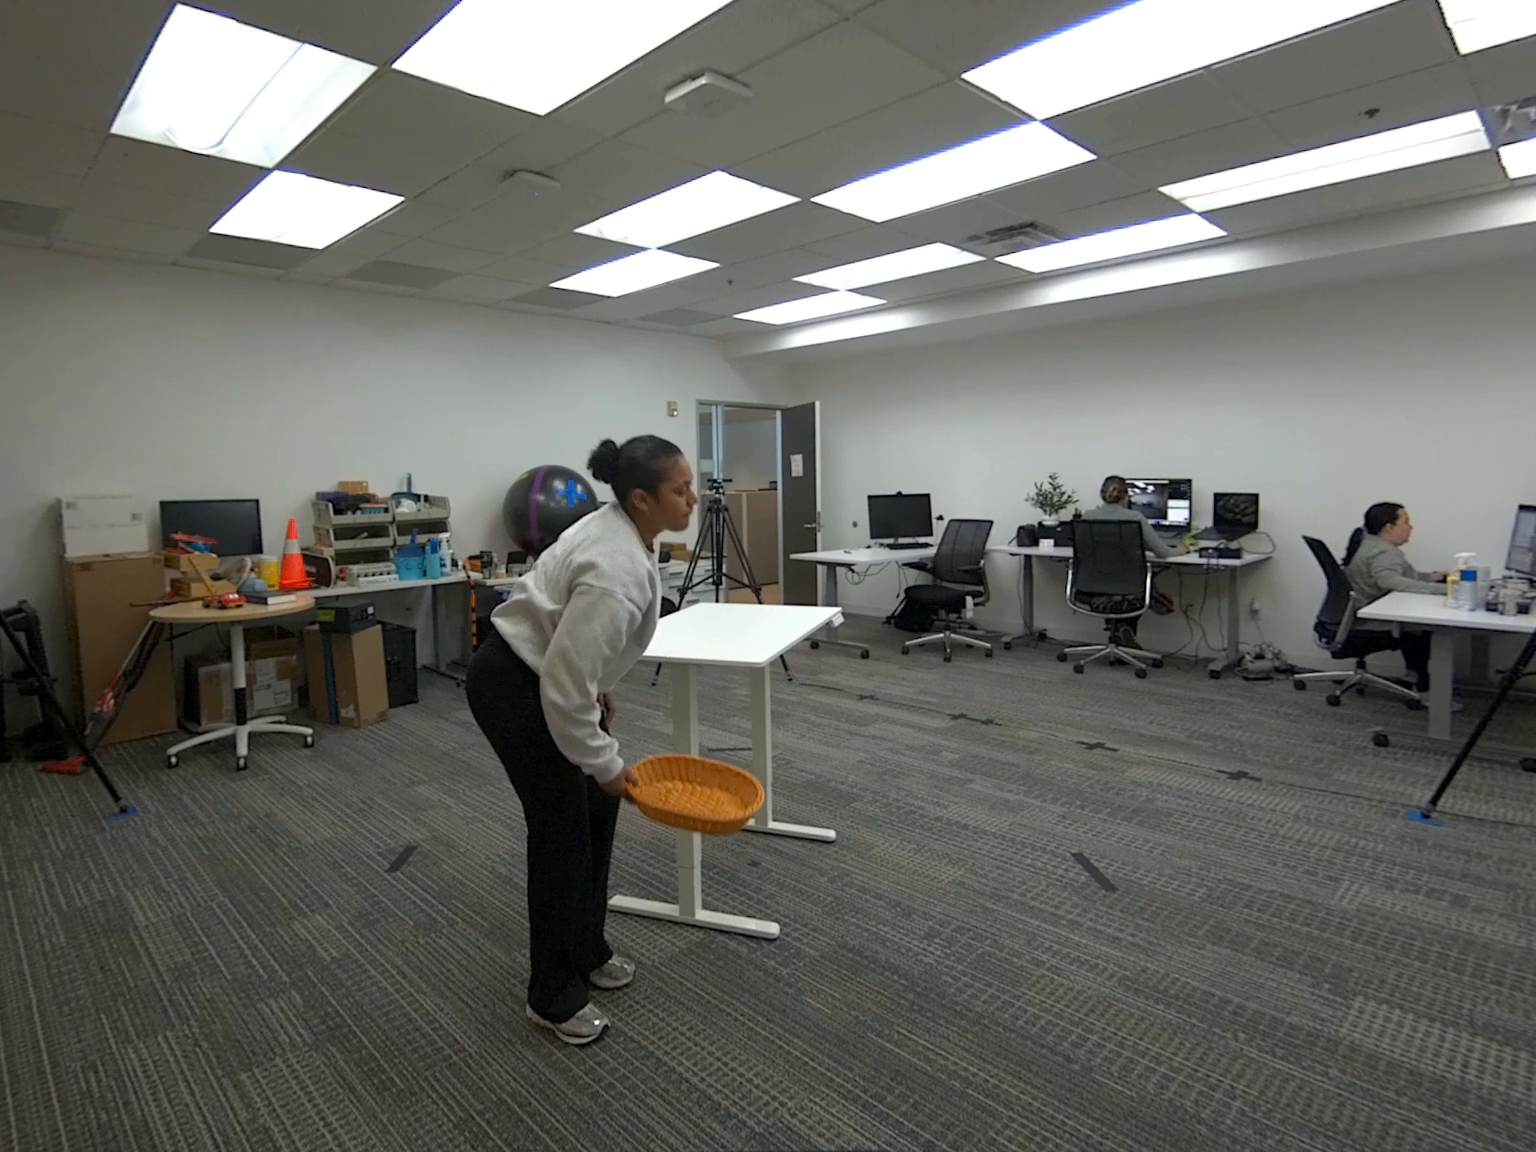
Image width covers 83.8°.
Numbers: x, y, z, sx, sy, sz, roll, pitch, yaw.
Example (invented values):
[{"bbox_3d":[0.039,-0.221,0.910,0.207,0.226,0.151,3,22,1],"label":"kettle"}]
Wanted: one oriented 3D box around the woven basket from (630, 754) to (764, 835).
[{"bbox_3d":[-0.186,0.561,2.118,0.357,0.072,0.251,10,19,15],"label":"woven basket"}]
